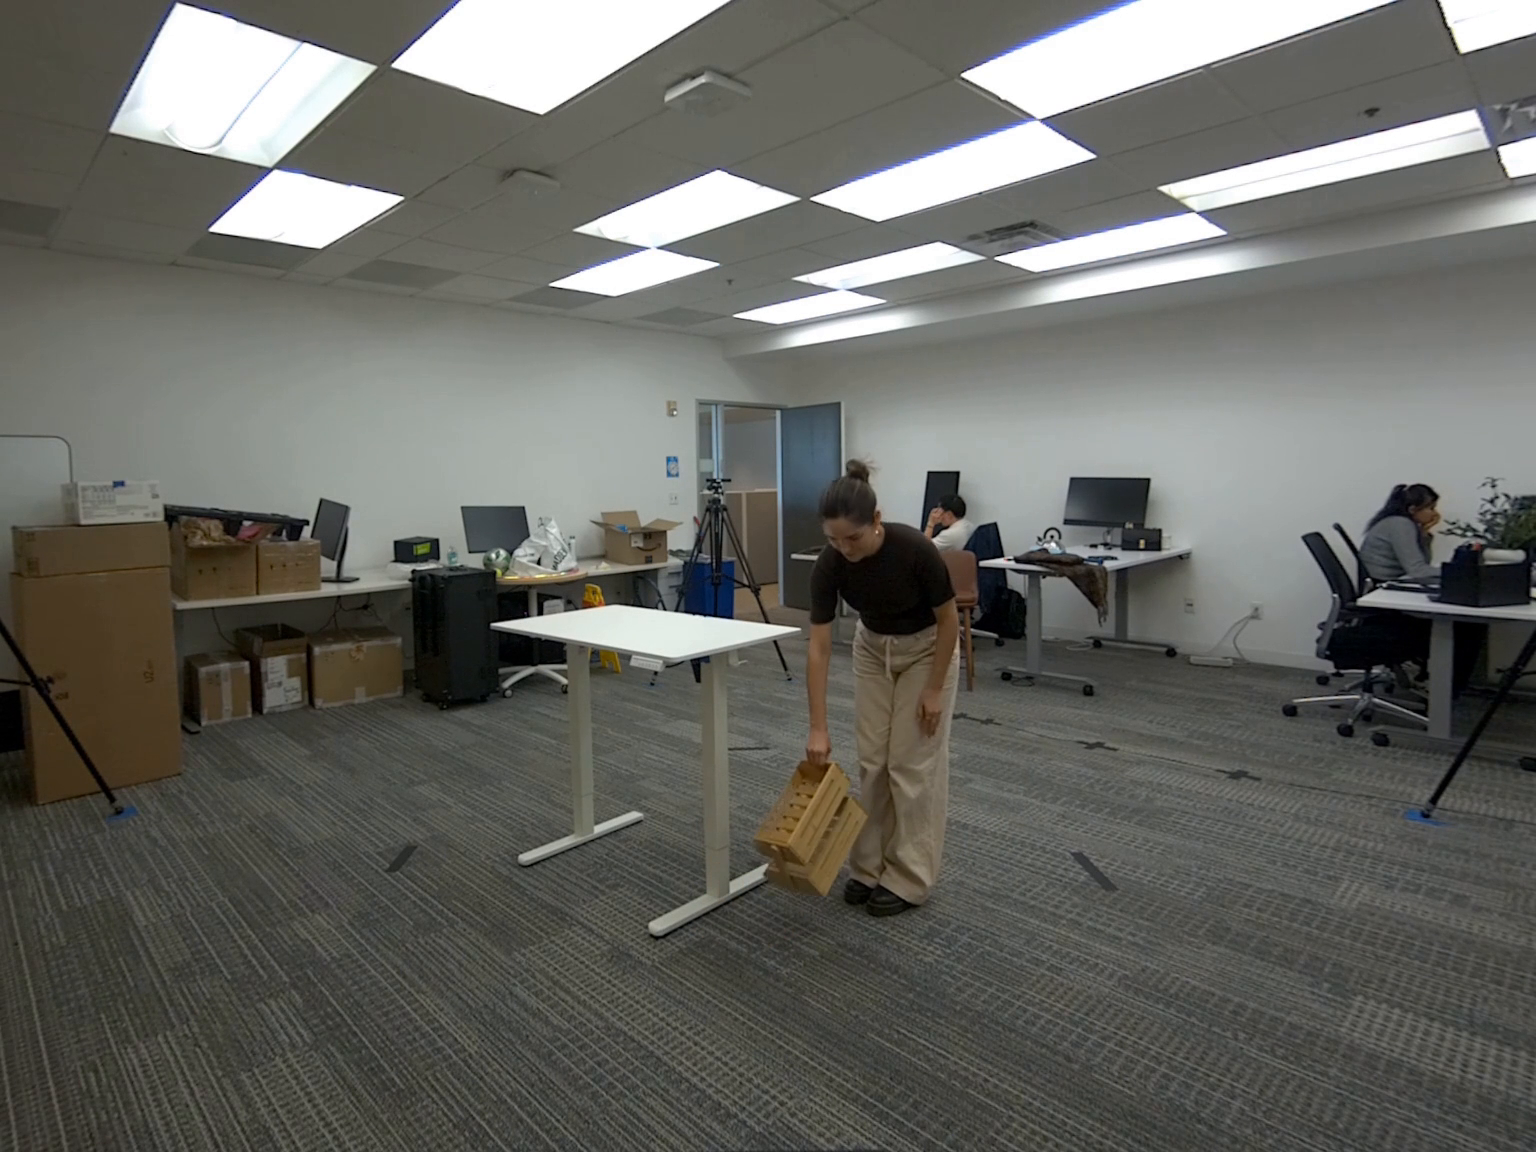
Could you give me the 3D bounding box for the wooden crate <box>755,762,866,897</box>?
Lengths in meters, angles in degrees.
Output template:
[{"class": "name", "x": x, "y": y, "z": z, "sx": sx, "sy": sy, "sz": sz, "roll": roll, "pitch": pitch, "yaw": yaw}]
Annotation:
[{"class": "wooden crate", "x": 0.106, "y": 0.768, "z": 2.651, "sx": 0.309, "sy": 0.266, "sz": 0.325, "roll": -11, "pitch": 34, "yaw": 49}]
